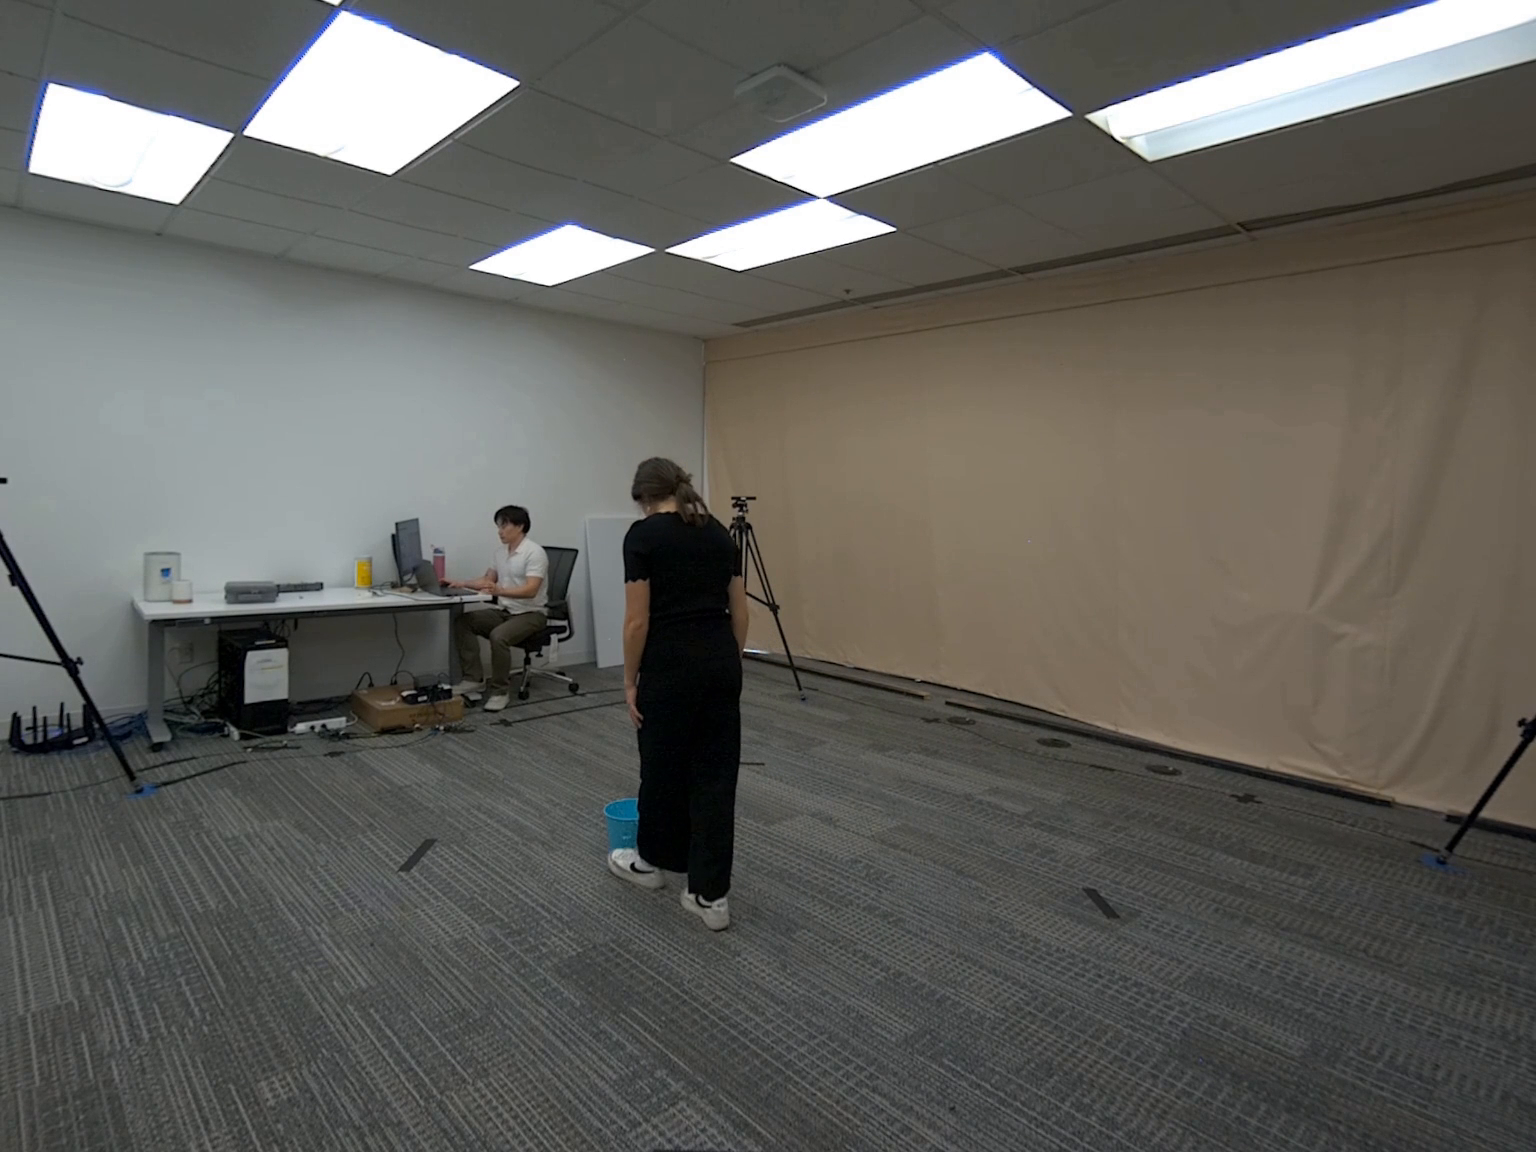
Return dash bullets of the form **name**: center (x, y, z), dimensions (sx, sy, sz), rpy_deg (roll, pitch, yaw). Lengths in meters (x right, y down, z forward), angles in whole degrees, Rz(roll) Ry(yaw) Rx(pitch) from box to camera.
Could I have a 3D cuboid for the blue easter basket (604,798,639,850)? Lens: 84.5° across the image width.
- **blue easter basket**: center (-0.539, 0.996, 3.342), dimensions (0.243, 0.155, 0.244), rpy_deg (1, 5, -1)
